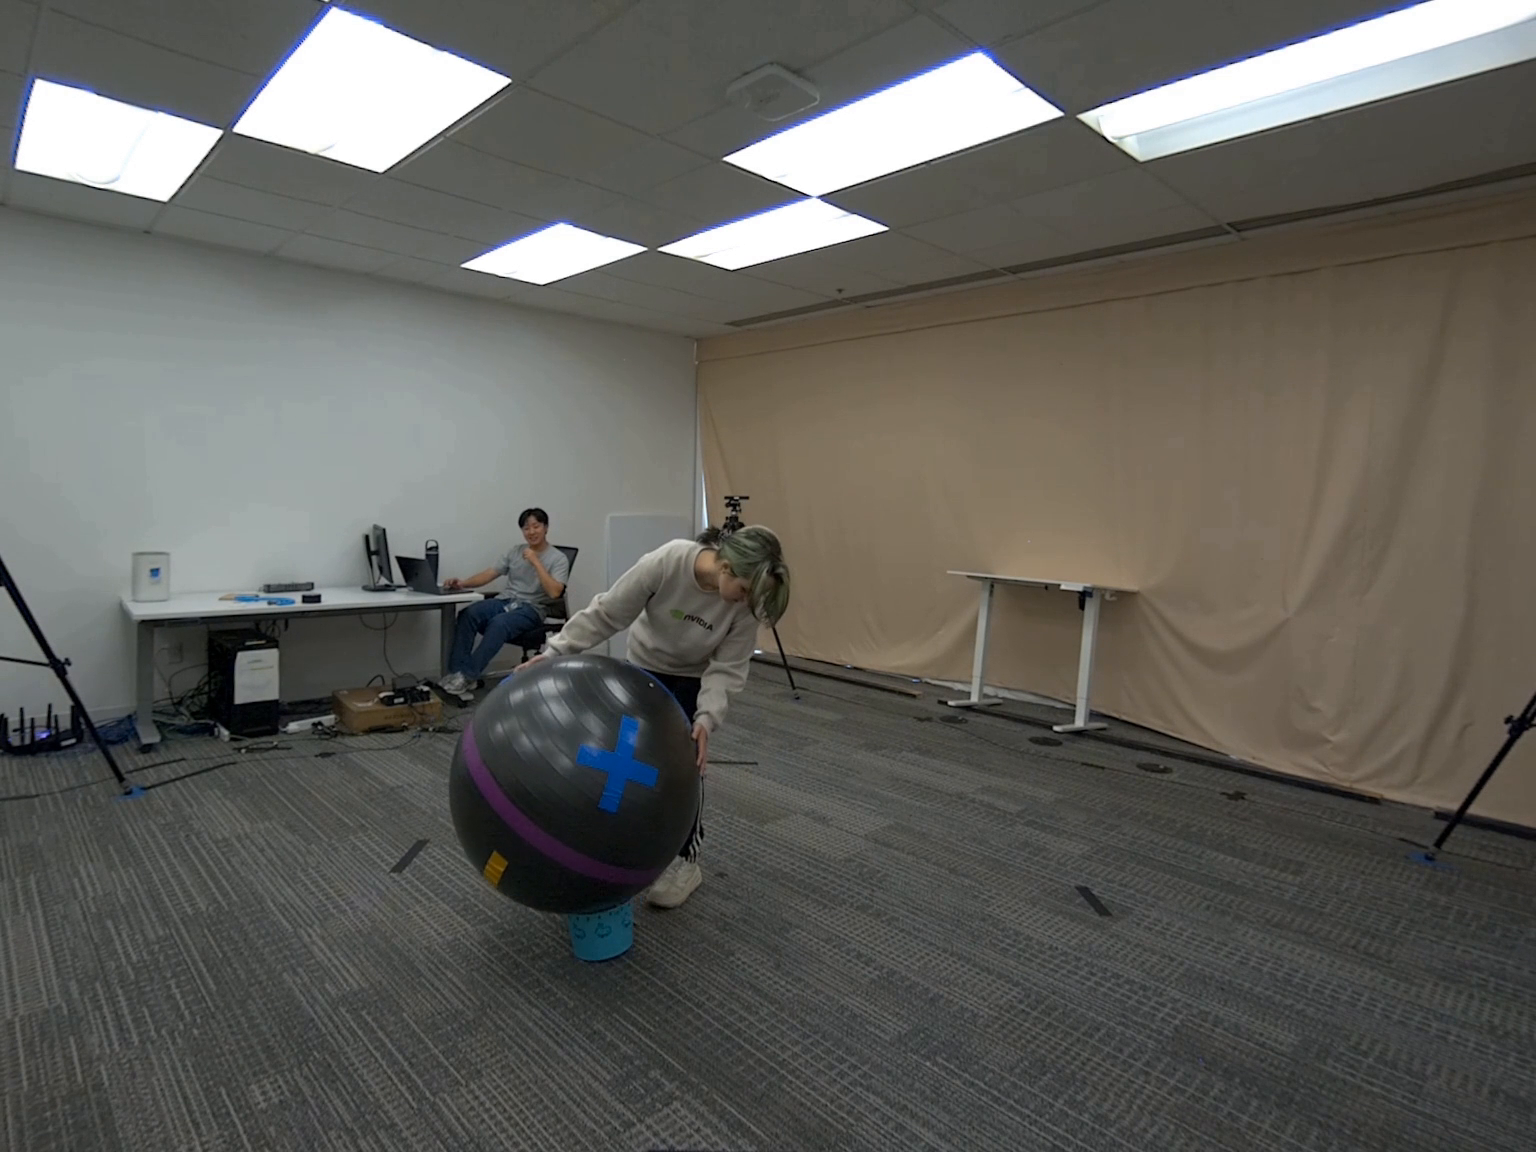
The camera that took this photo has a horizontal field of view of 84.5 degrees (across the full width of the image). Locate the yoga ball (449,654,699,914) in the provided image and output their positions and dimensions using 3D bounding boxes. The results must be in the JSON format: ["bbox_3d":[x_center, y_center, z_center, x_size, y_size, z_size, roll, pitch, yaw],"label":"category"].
[{"bbox_3d":[-0.582,0.624,2.563,0.757,0.756,0.761,1,4,-1],"label":"yoga ball"}]
